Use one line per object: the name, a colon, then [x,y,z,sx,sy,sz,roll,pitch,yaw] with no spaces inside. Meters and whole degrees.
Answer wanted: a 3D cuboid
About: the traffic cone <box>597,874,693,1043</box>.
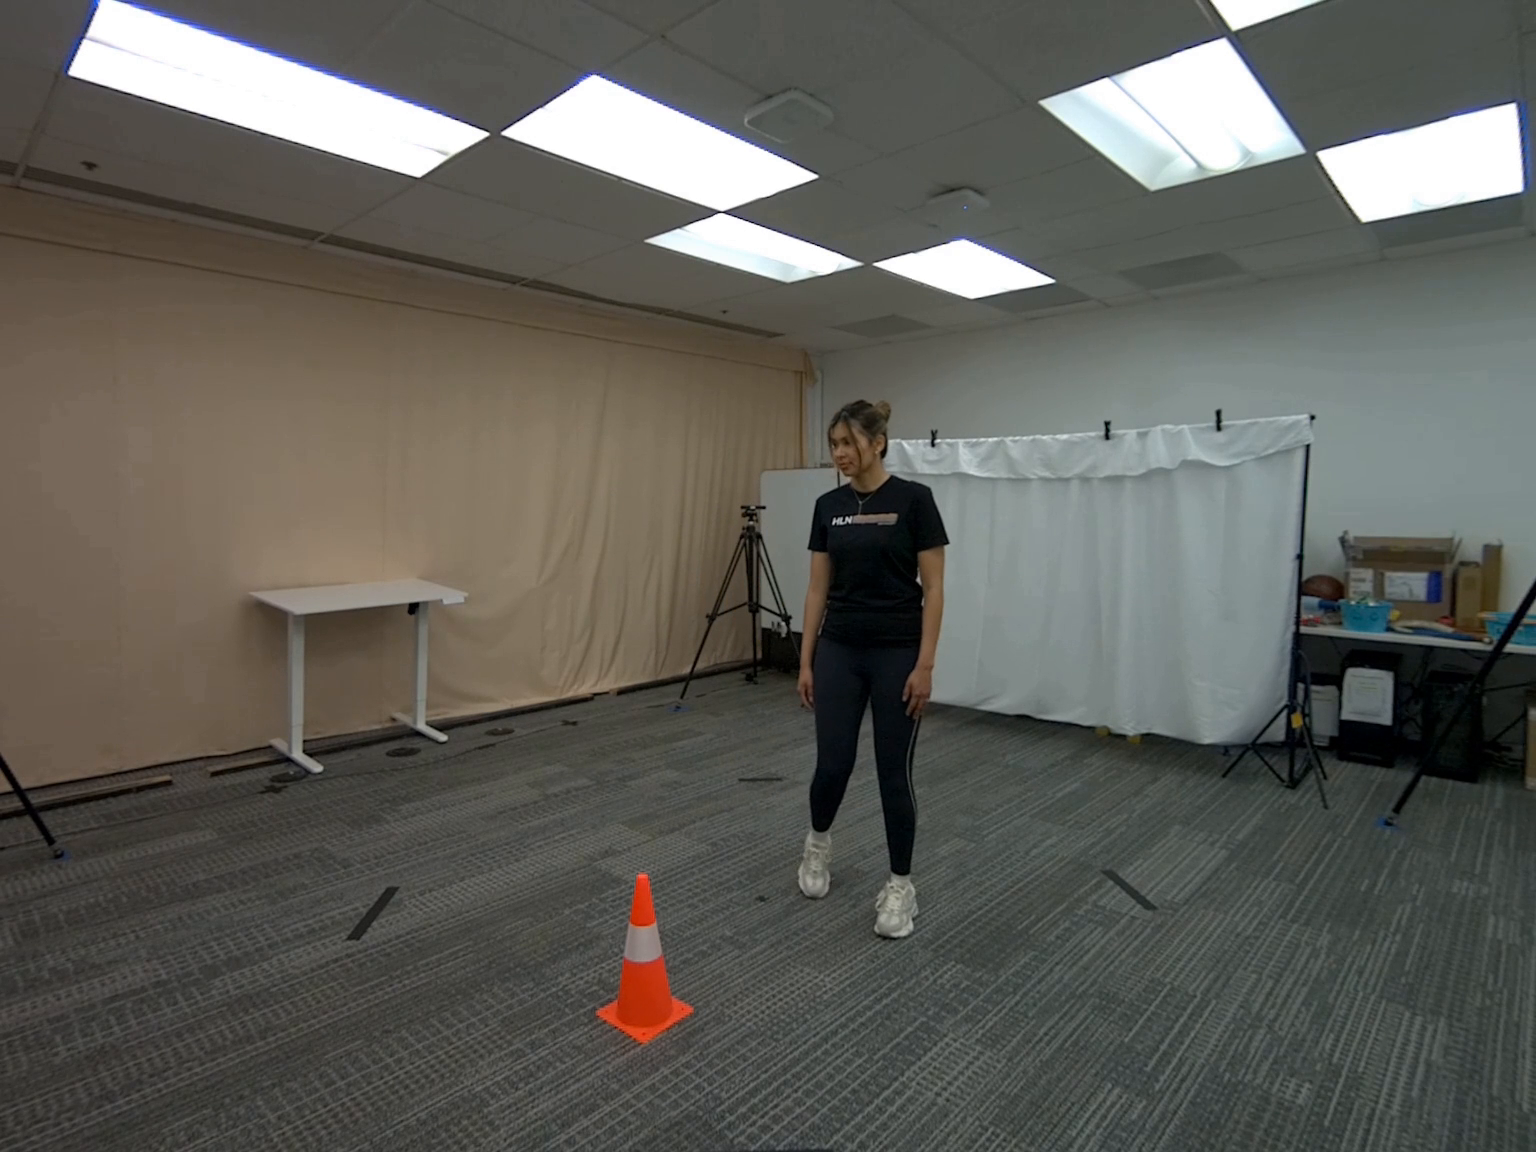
traffic cone: [-0.335,1.018,2.307,0.210,0.383,0.198,3,4,43]
